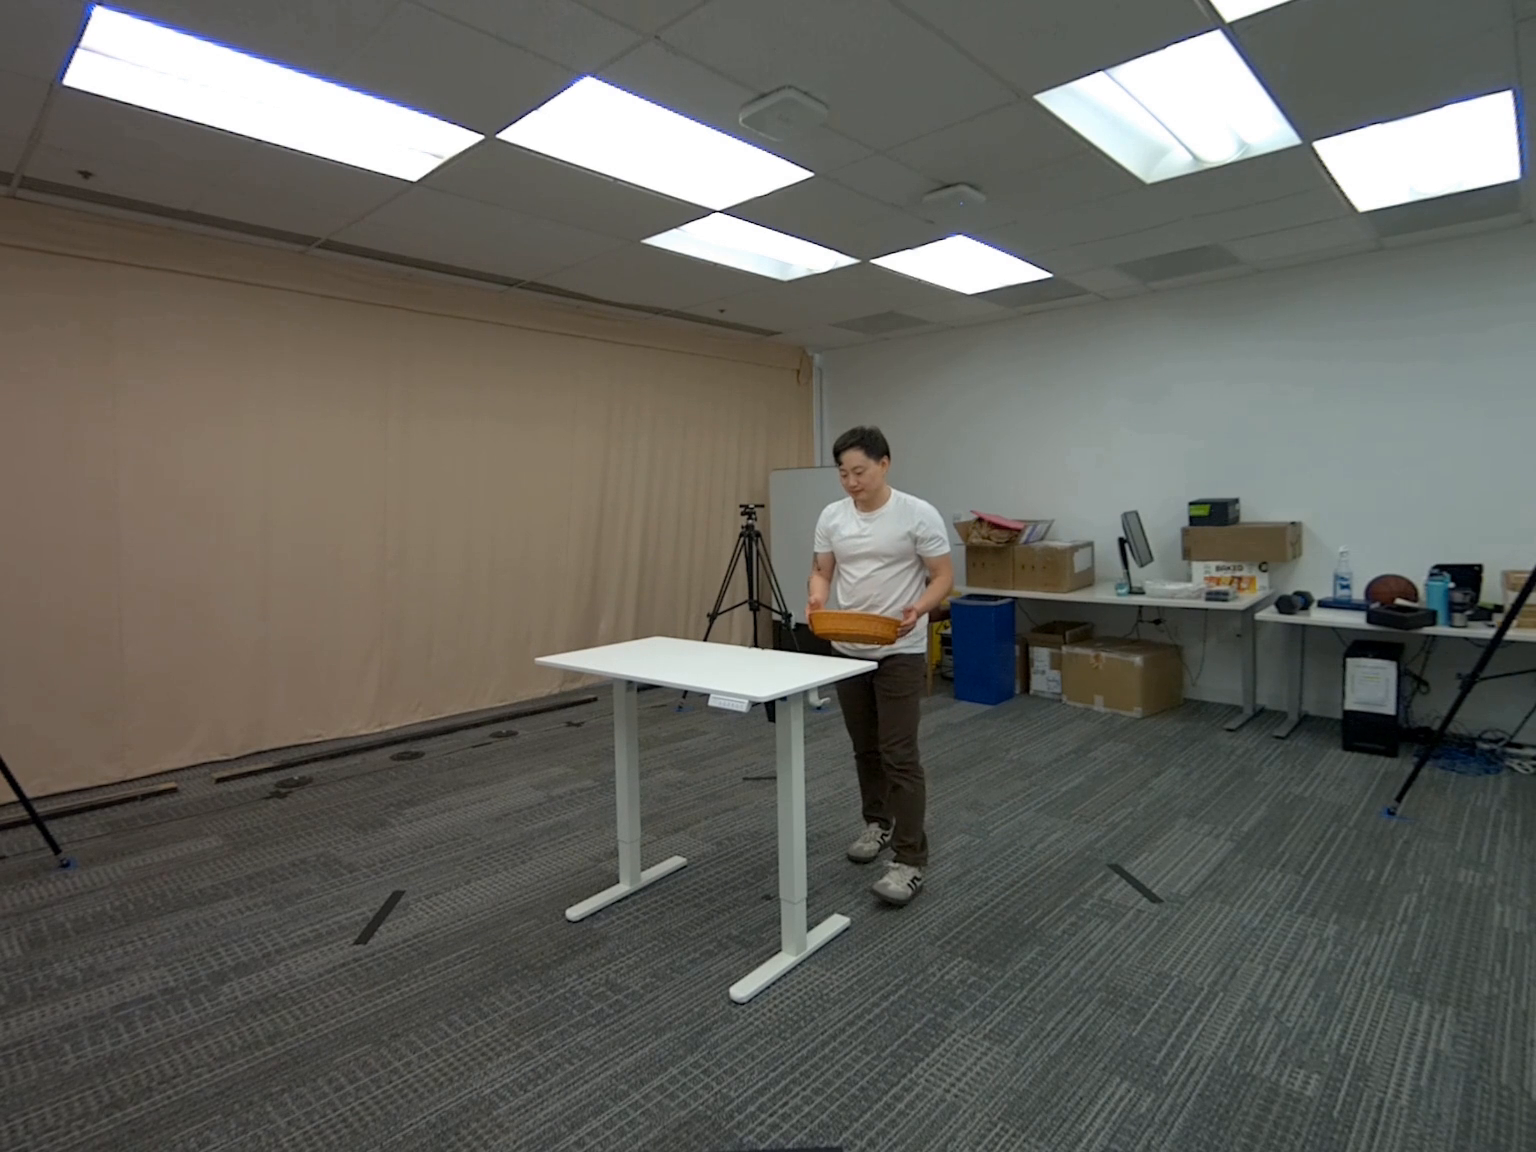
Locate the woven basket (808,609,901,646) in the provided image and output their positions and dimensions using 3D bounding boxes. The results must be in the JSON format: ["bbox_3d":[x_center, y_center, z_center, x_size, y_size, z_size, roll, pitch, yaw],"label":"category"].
[{"bbox_3d":[0.319,0.184,2.928,0.361,0.074,0.243,1,-14,33],"label":"woven basket"}]
